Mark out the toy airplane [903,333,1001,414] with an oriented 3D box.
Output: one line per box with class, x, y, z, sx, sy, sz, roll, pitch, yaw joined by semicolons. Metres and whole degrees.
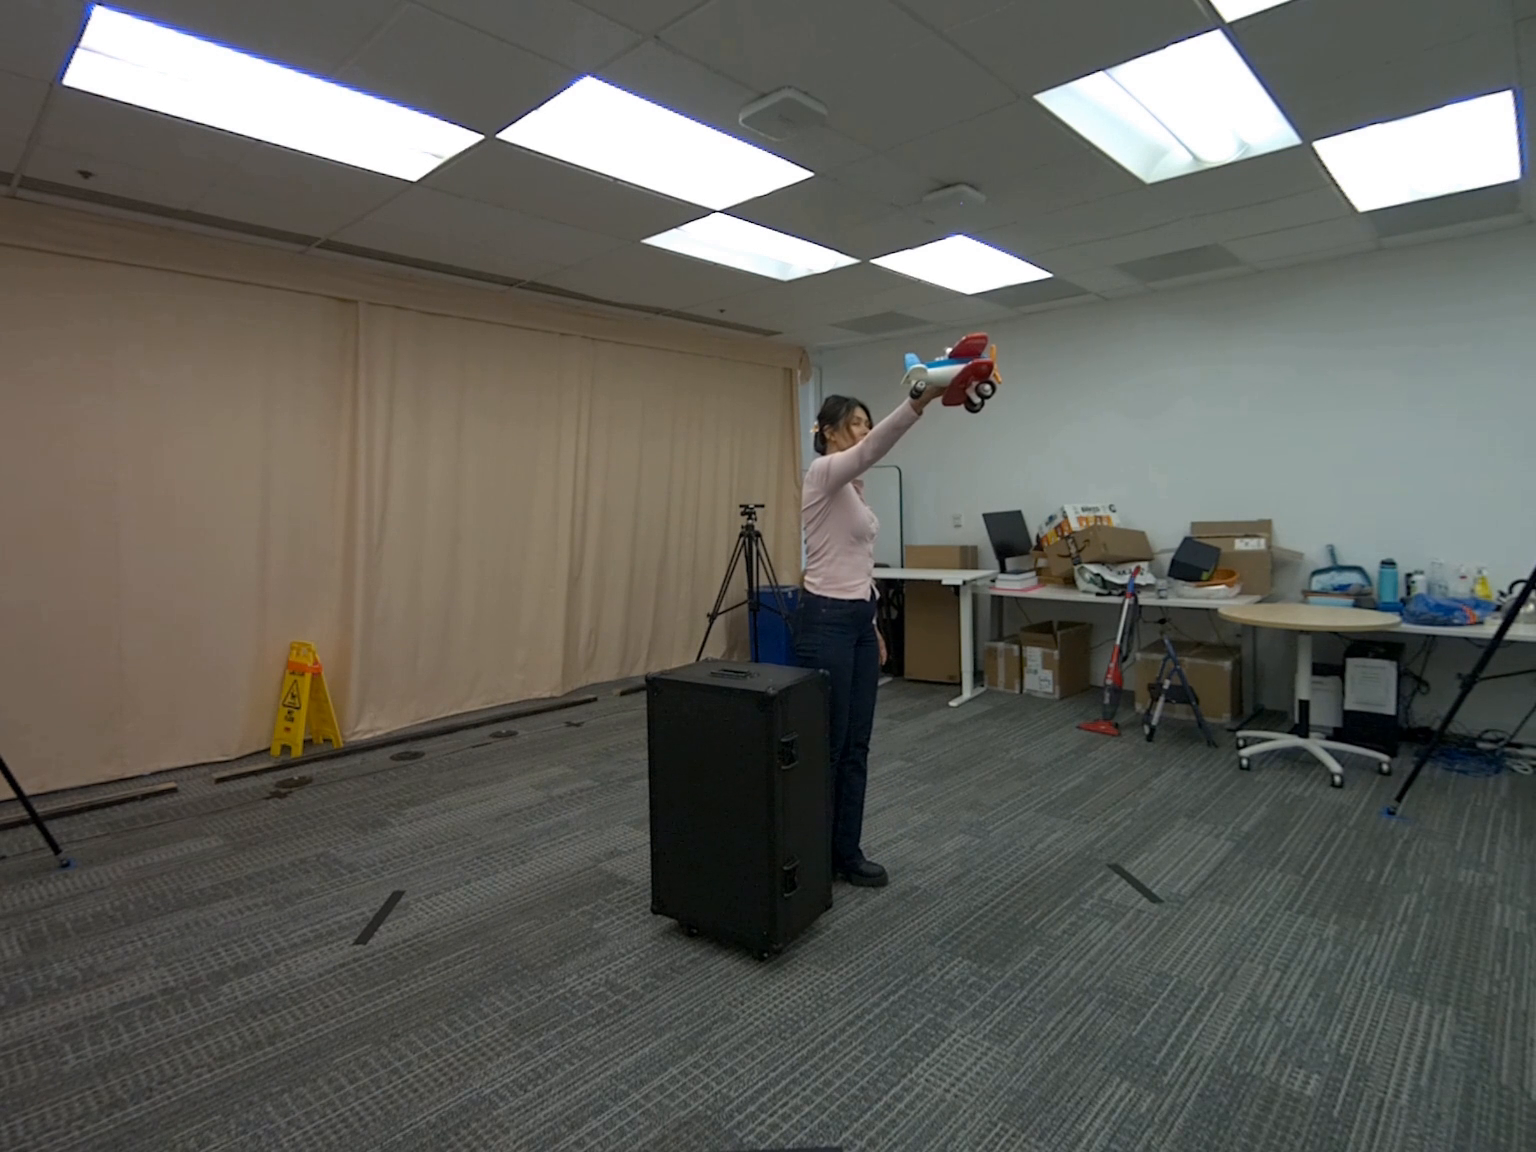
toy airplane;0.521;-0.569;2.321;0.251;0.158;0.257;19;-22;-31
